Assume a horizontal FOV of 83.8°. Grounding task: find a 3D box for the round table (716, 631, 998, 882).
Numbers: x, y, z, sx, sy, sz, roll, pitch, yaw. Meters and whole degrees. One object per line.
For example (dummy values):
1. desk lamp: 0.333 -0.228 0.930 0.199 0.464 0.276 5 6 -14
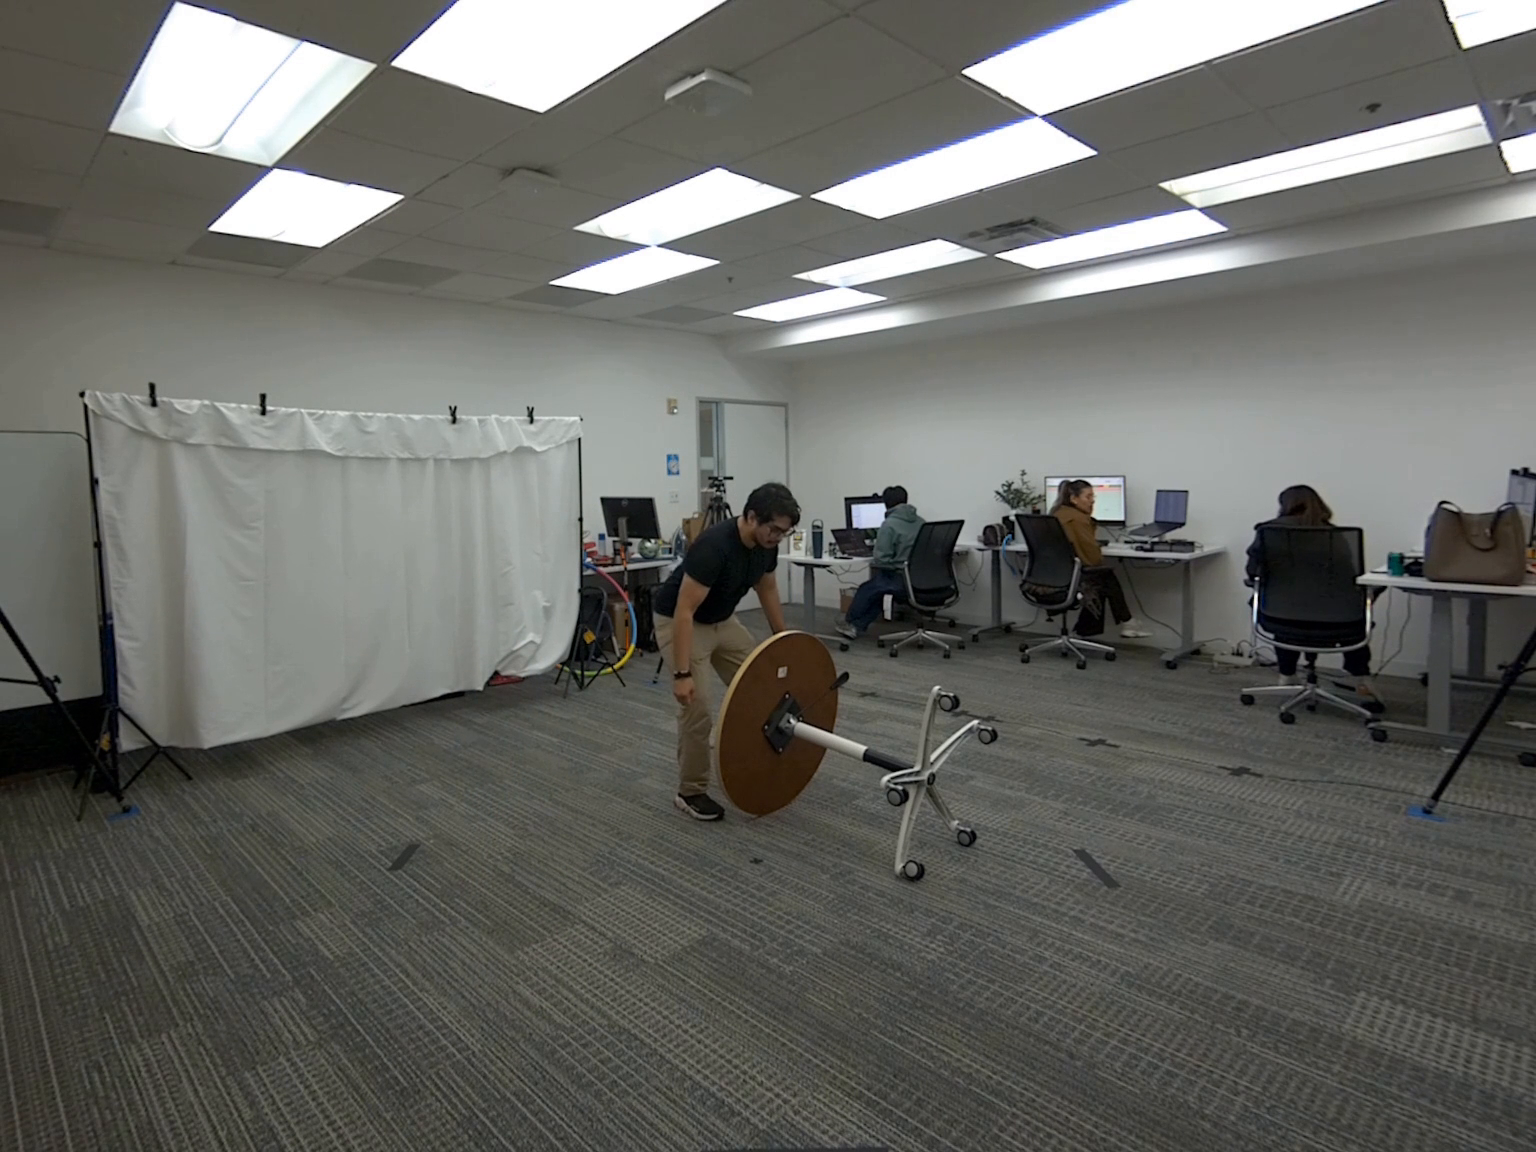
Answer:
1. round table: 0.340 0.676 3.267 0.813 0.779 0.765 13 13 41
